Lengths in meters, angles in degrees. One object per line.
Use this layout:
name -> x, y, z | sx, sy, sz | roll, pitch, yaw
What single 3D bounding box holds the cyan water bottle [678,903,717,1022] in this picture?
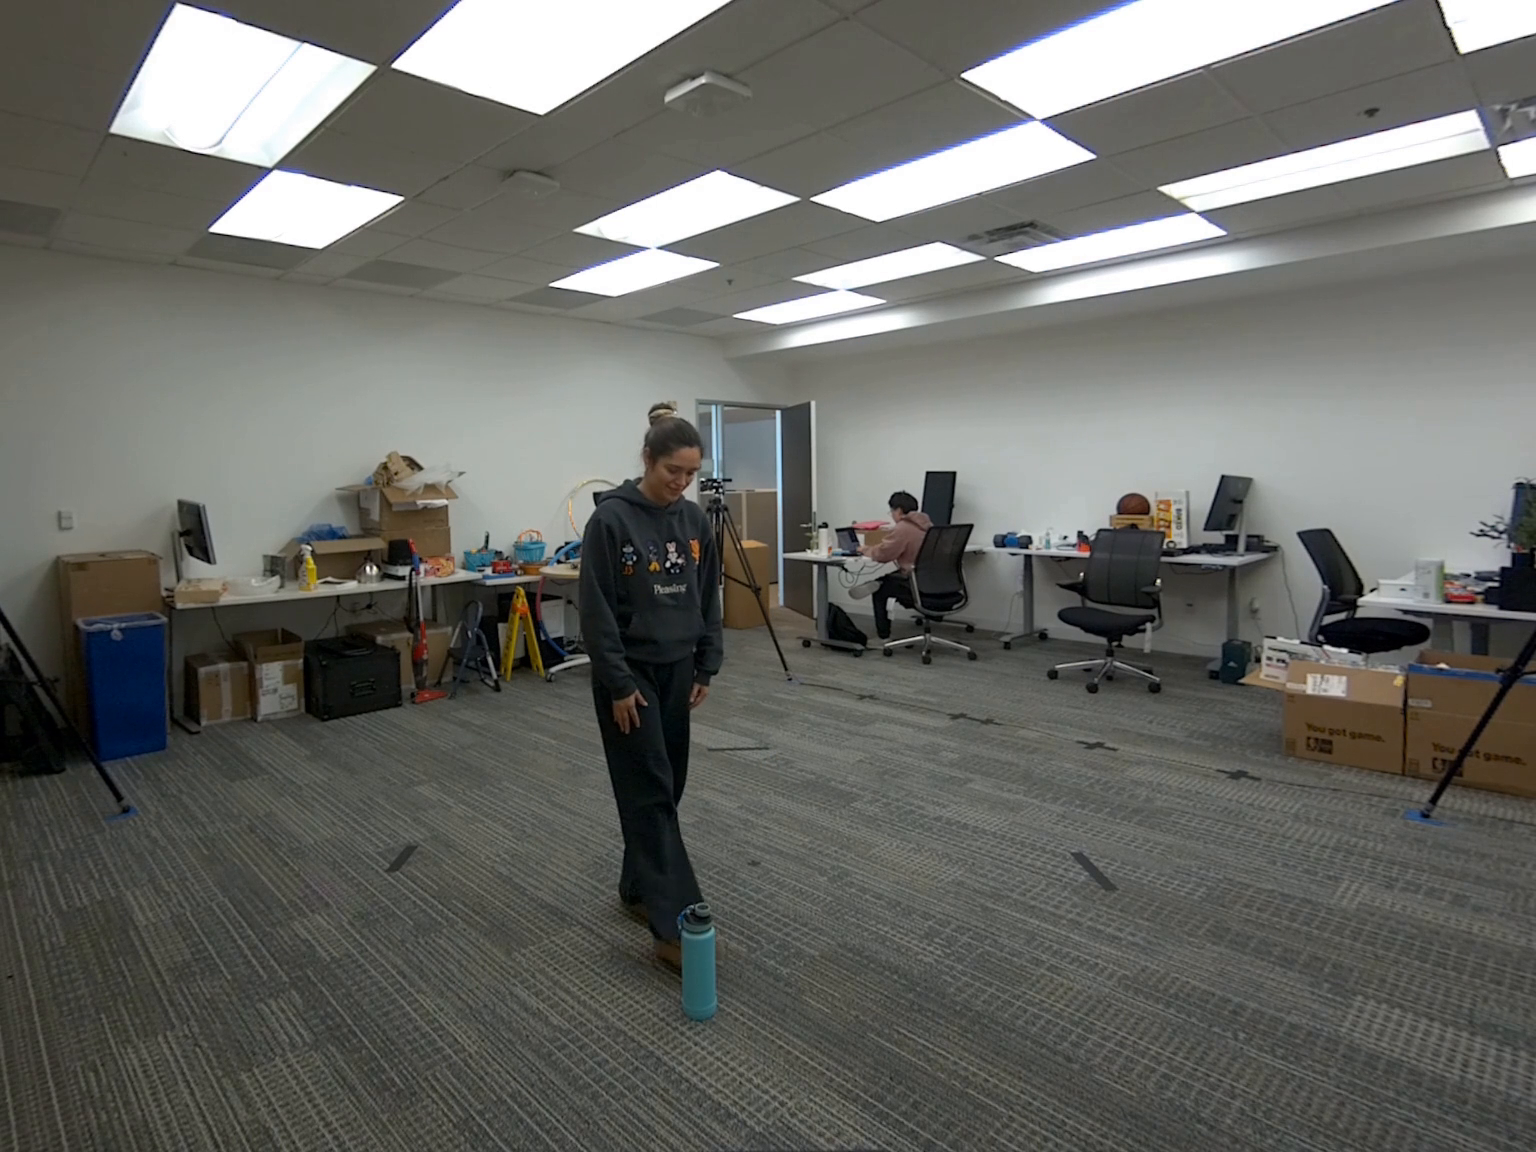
cyan water bottle -> -0.179, 1.009, 2.235 | 0.092, 0.282, 0.093 | -3, 3, -1
